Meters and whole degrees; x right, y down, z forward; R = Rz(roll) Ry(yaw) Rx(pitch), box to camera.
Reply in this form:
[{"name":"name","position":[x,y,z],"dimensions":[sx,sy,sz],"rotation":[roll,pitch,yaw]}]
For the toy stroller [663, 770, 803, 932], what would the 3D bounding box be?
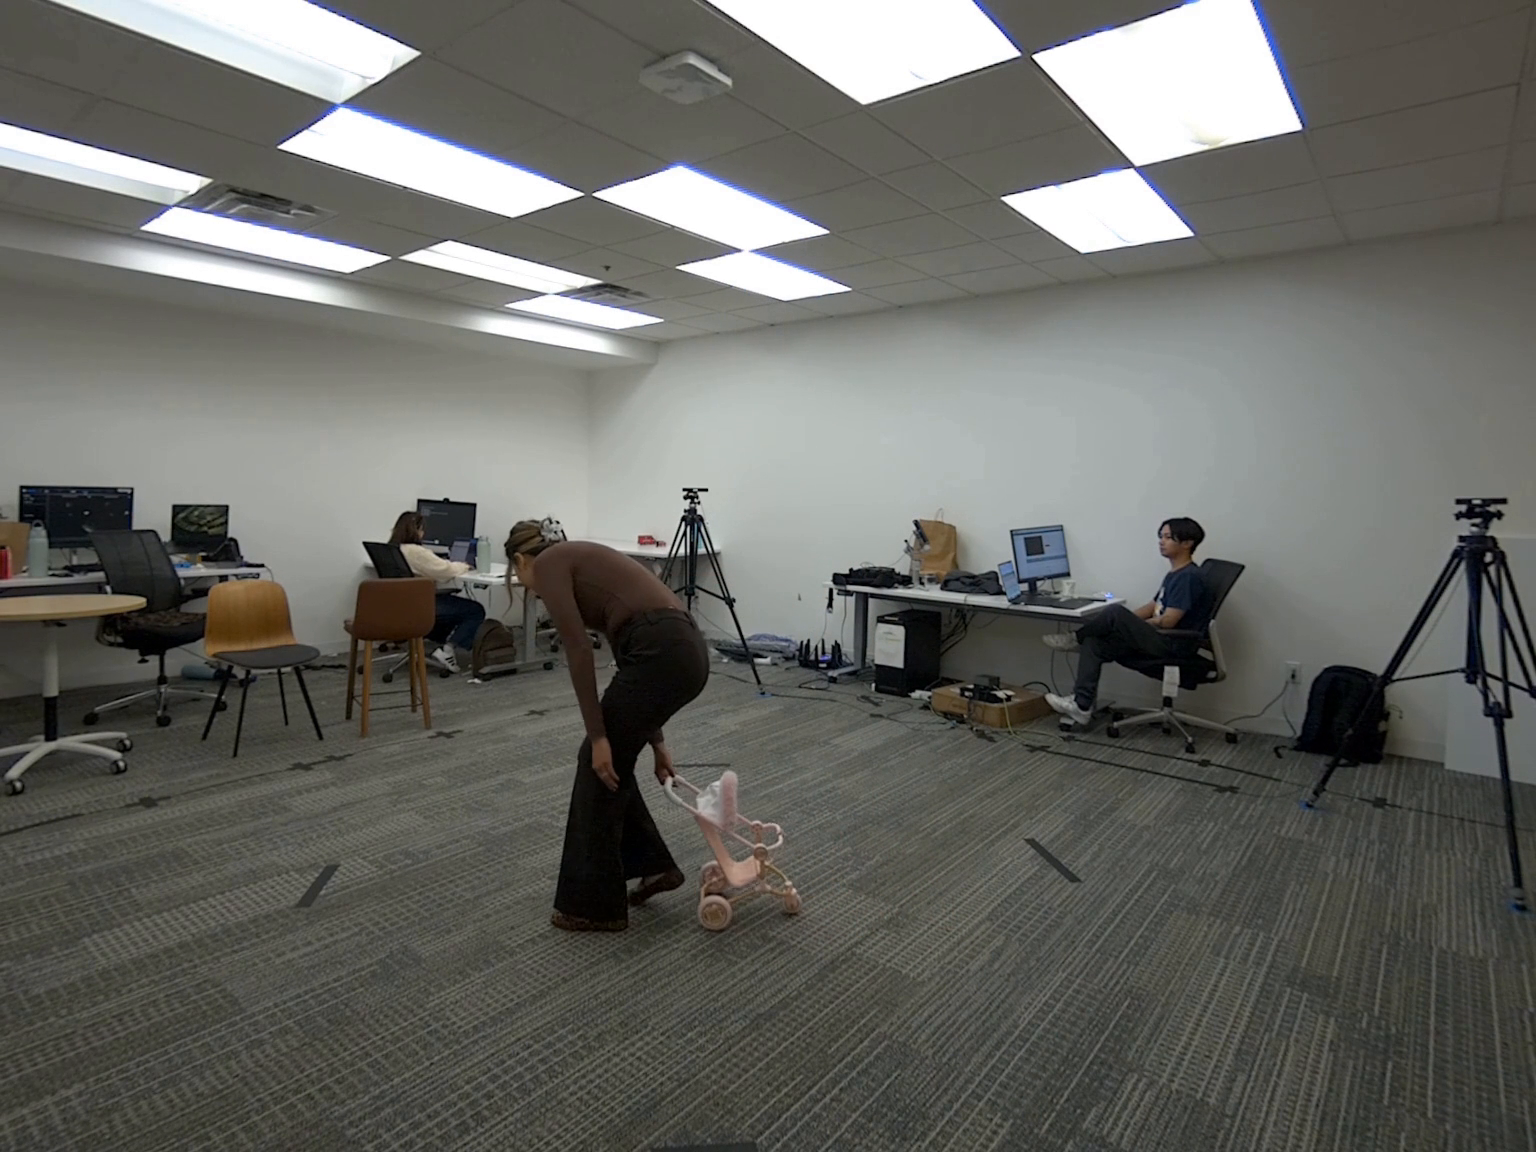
[{"name":"toy stroller","position":[-0.110,0.882,2.780],"dimensions":[0.343,0.534,0.281],"rotation":[-14,3,4]}]
